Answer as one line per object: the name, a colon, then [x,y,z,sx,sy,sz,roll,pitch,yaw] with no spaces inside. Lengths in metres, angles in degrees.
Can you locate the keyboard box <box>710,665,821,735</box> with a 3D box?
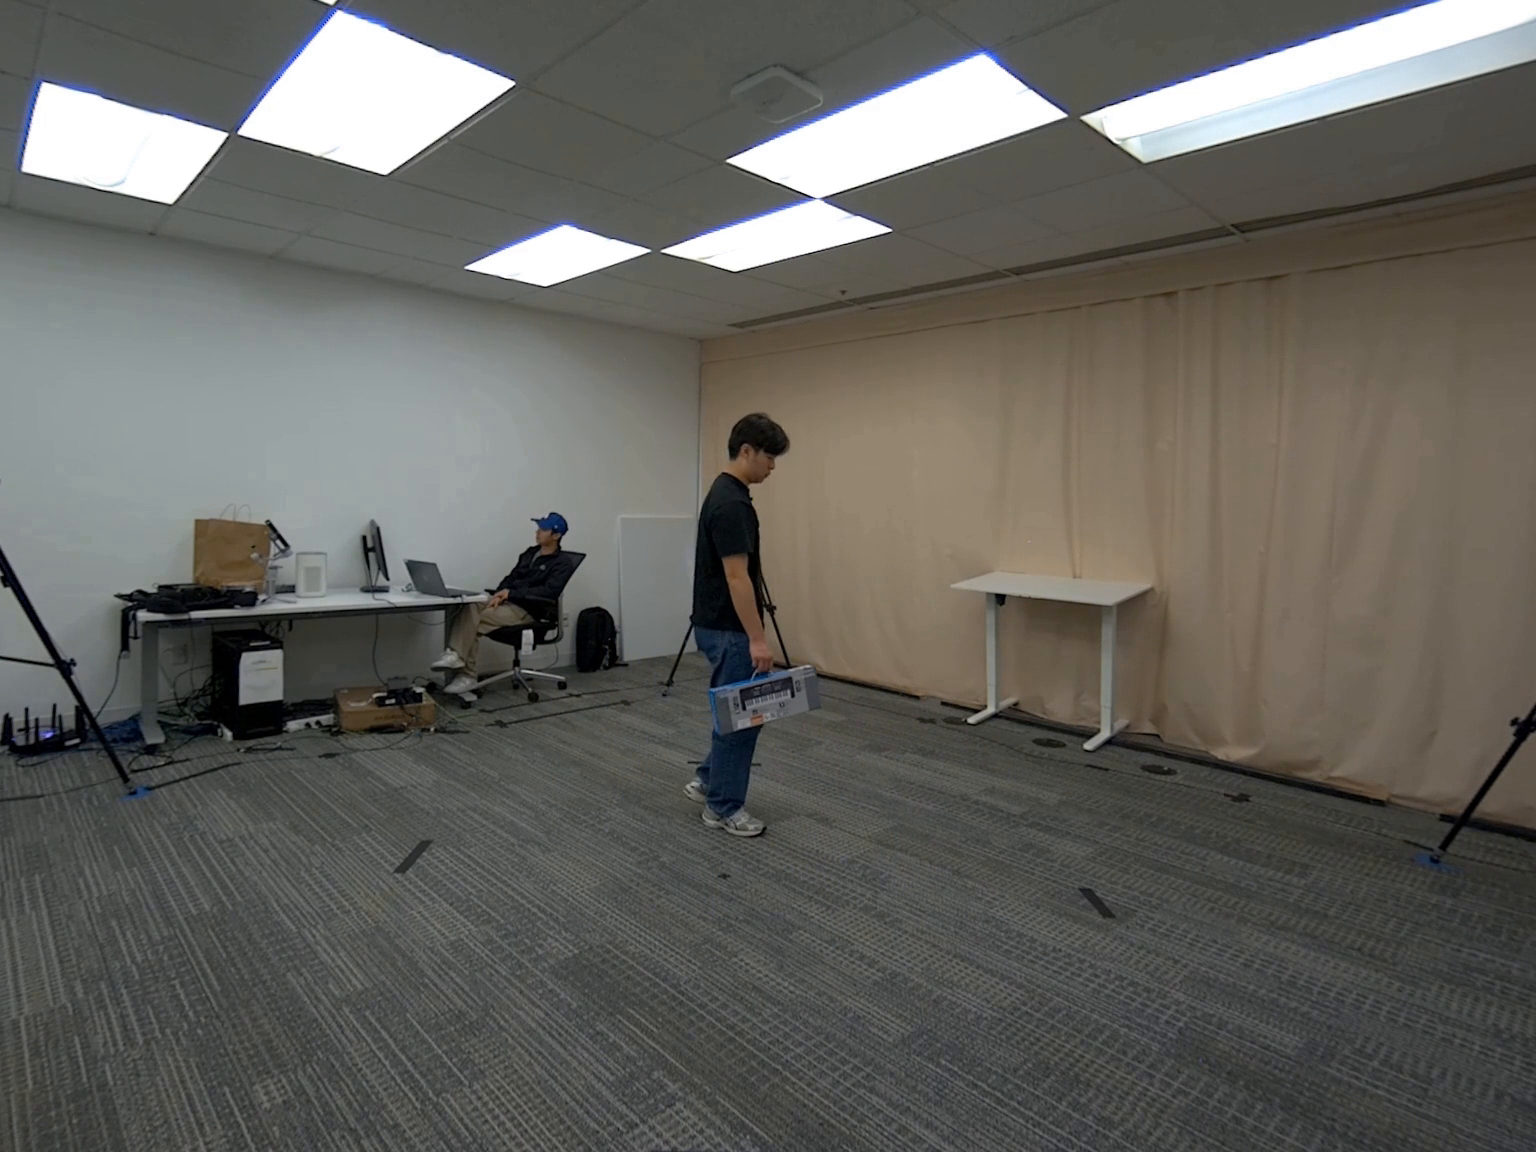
keyboard box: [-0.019,0.482,3.298,0.432,0.175,0.060,-11,4,-19]
